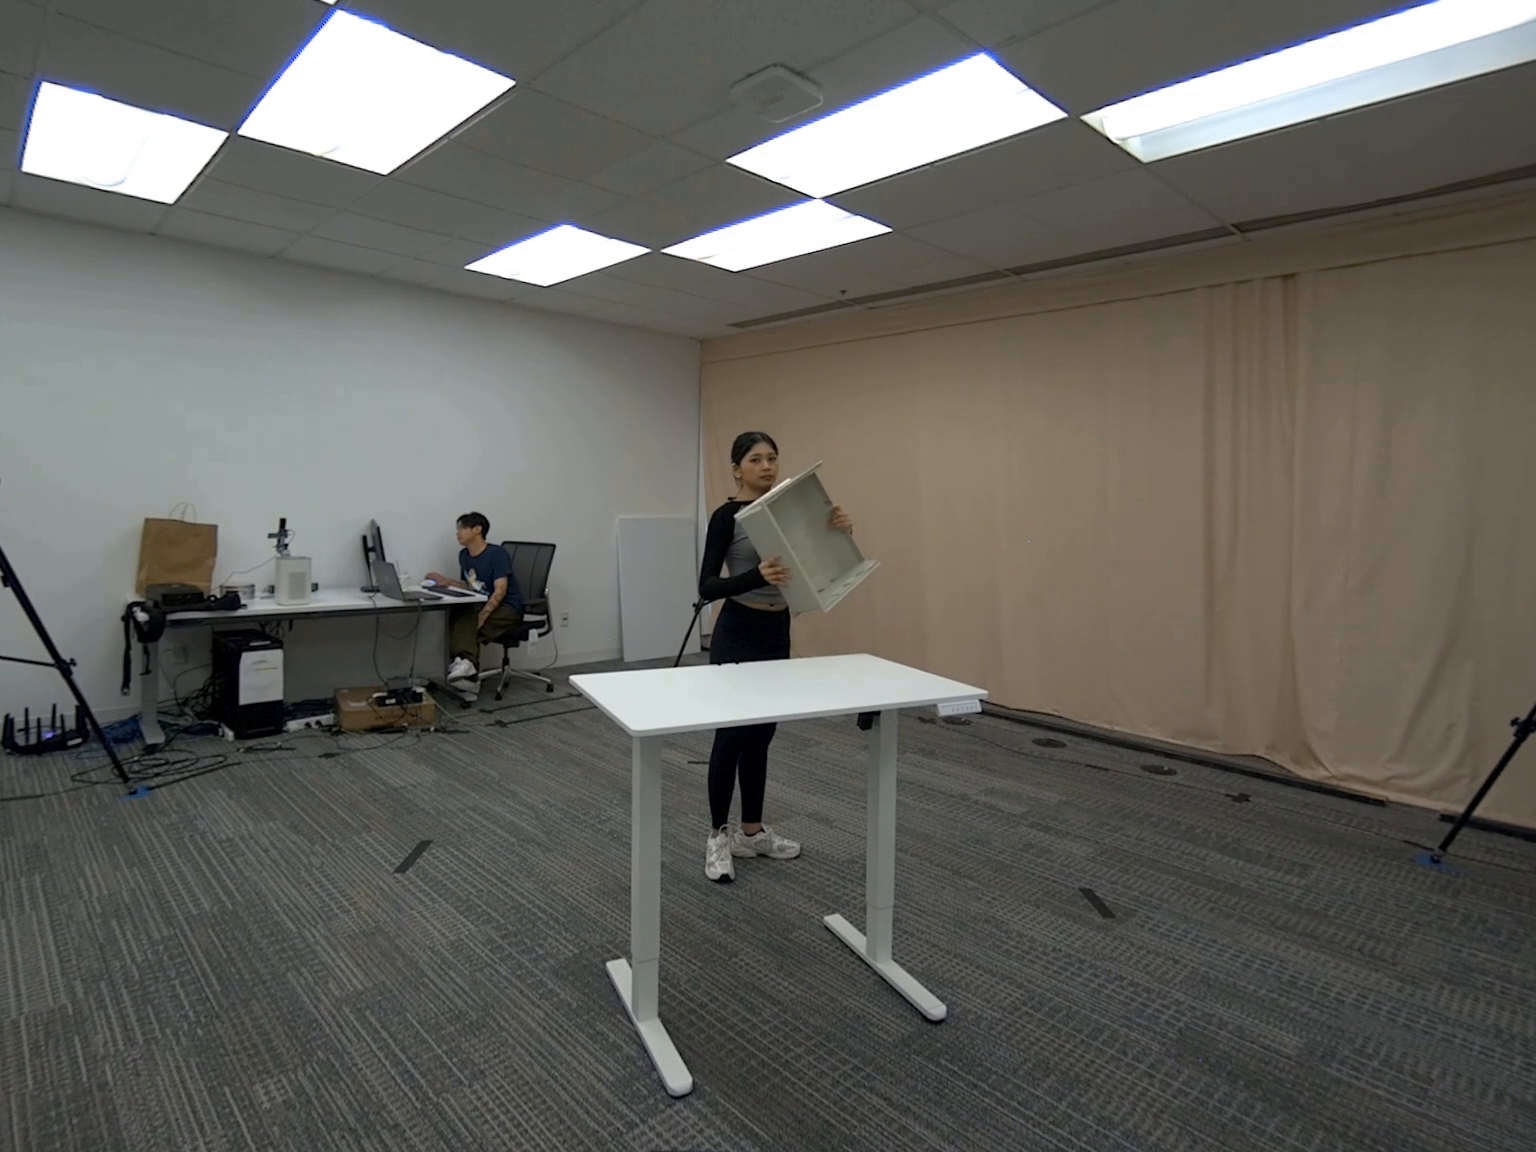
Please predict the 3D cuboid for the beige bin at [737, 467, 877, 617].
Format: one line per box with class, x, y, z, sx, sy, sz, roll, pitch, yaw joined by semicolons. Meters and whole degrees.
beige bin;0.140;-0.130;2.919;0.375;0.419;0.191;-36;9;-37
